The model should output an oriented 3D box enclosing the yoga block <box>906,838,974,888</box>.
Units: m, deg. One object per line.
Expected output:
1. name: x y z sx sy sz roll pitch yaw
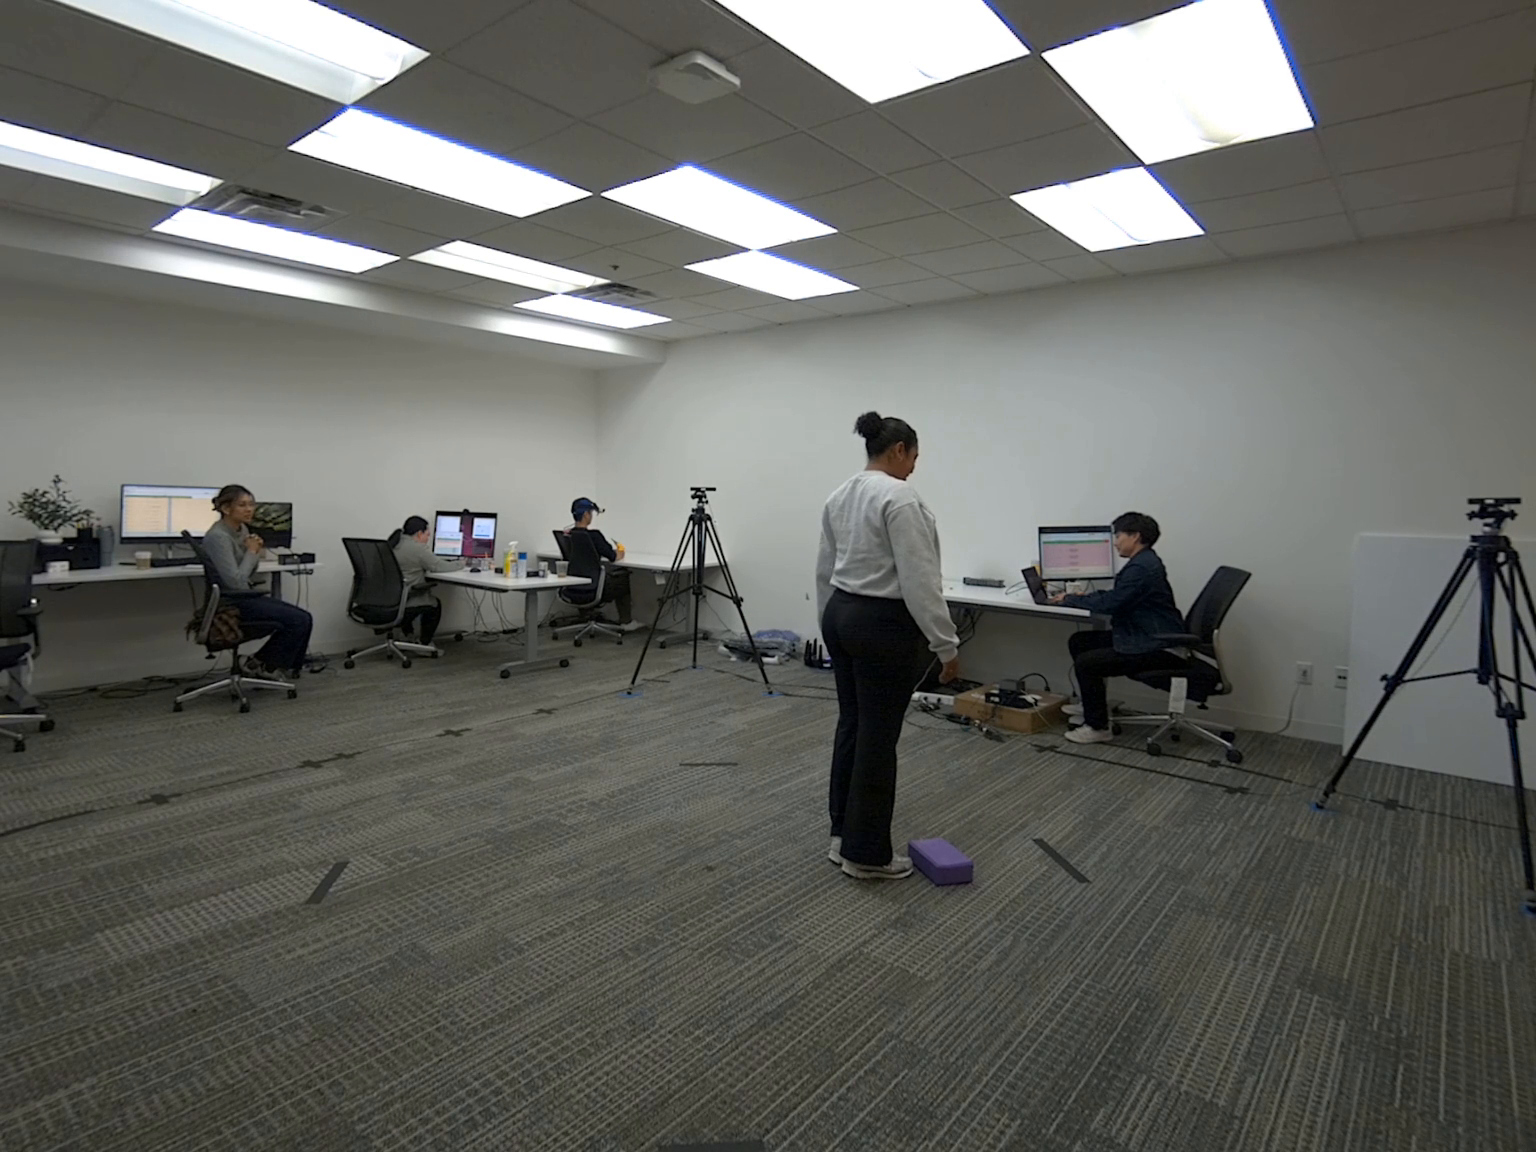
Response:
1. yoga block: 0.626 1.047 3.130 0.146 0.076 0.234 -1 5 -16
